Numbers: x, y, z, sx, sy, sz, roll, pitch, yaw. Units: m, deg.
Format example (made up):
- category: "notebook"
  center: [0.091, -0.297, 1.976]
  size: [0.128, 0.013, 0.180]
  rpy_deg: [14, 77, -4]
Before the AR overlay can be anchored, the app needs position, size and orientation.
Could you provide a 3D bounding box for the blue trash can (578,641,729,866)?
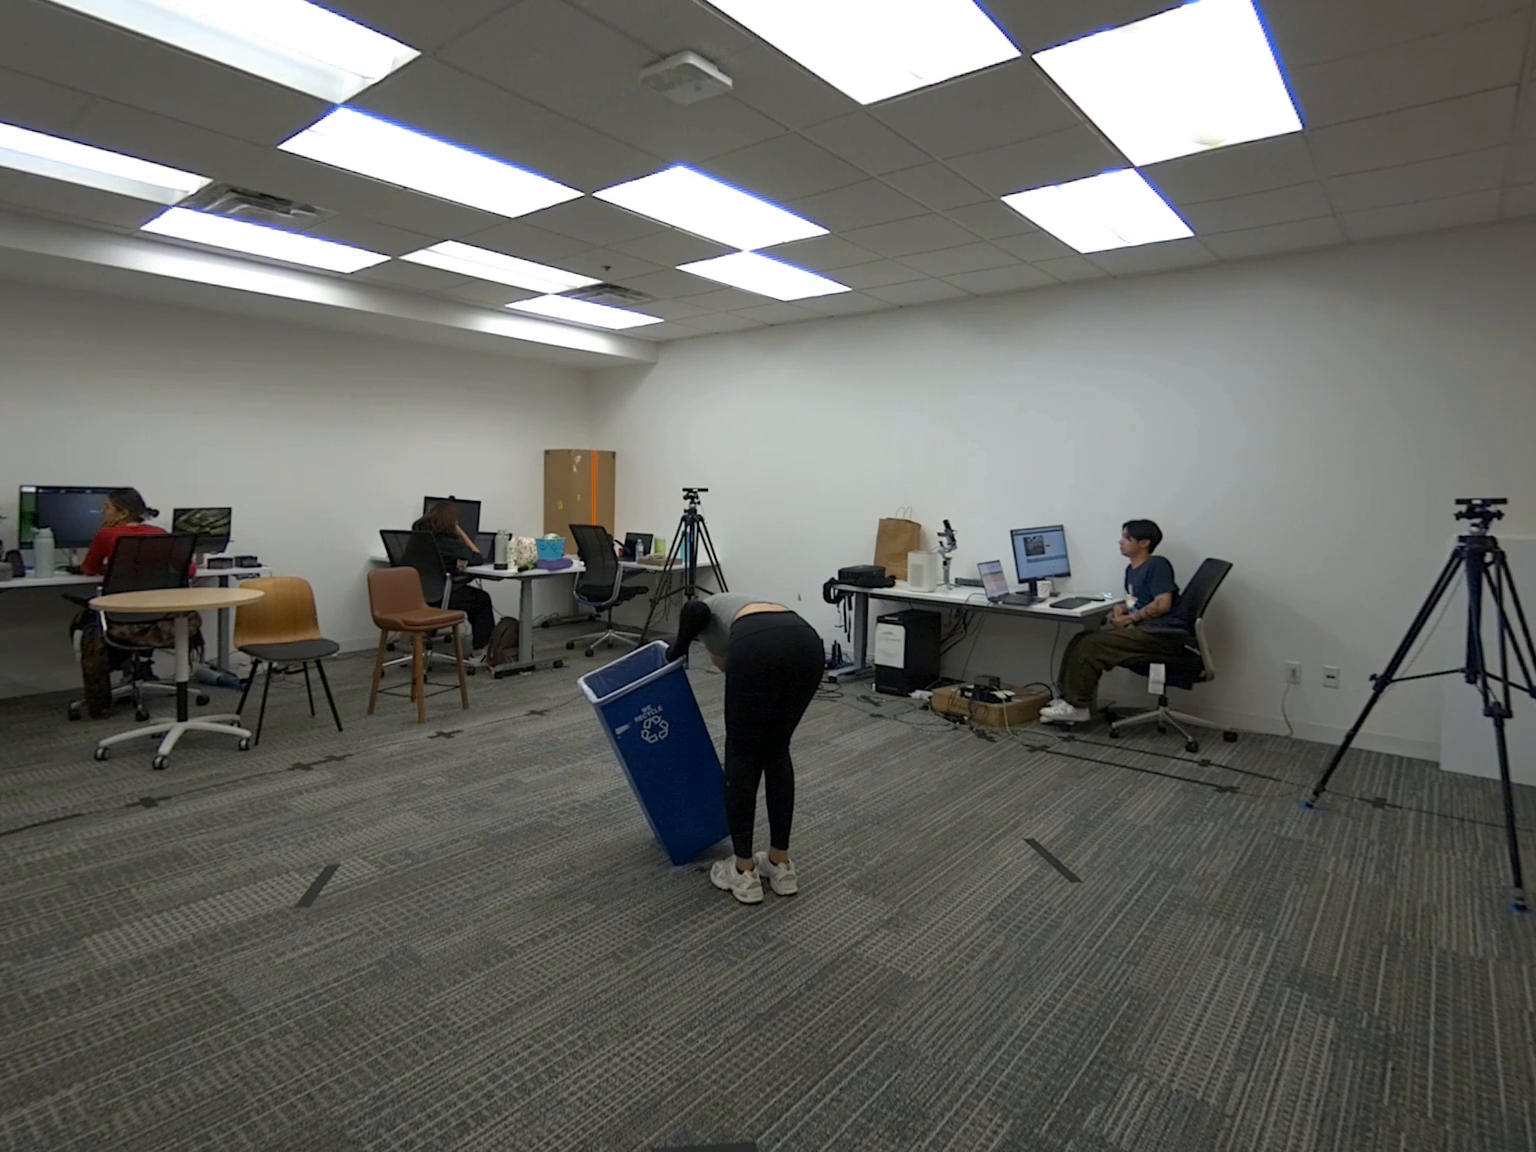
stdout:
- category: "blue trash can"
  center: [-0.404, 0.664, 3.247]
  size: [0.370, 0.703, 0.387]
  rpy_deg: [-26, 13, -18]
